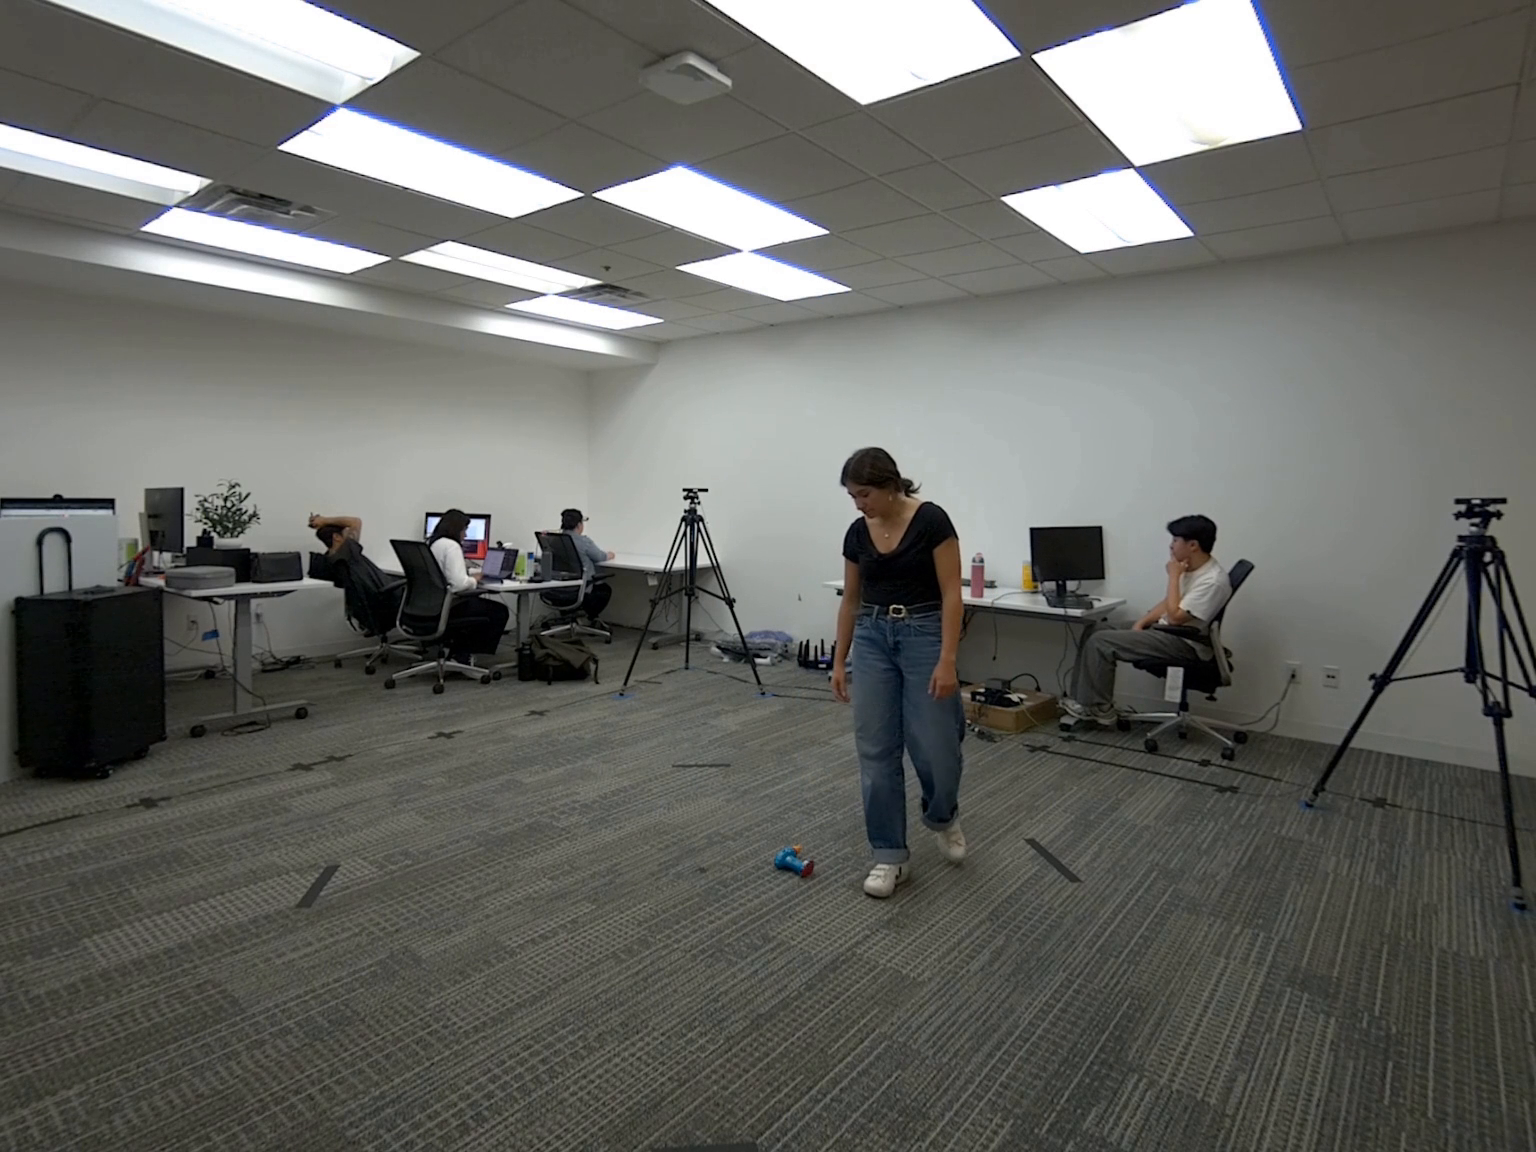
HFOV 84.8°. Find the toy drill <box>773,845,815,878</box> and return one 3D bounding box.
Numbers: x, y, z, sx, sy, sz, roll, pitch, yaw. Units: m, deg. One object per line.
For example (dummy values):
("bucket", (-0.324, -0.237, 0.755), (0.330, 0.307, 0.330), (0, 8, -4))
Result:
("toy drill", (0.115, 1.038, 3.157), (0.151, 0.060, 0.166), (8, 16, 36))
